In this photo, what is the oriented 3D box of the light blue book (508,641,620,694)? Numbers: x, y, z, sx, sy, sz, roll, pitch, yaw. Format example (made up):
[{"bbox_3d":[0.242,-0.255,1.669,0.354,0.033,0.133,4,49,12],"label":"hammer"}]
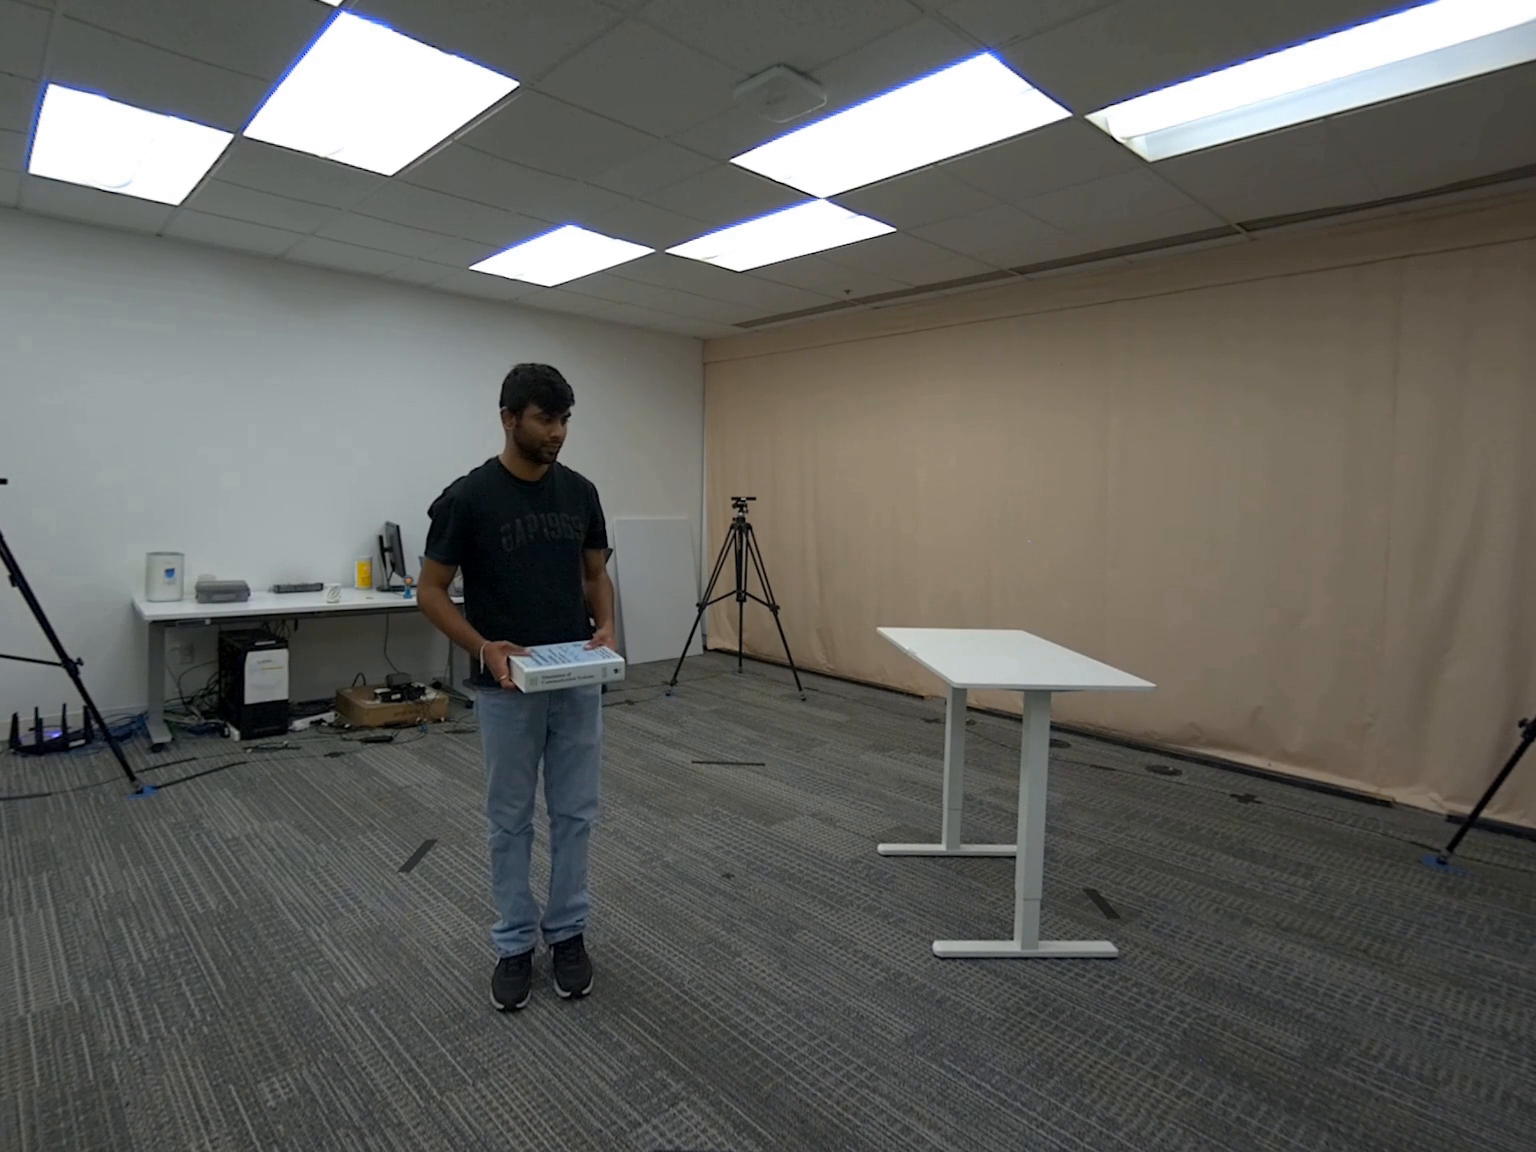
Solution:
[{"bbox_3d":[-0.553,0.234,2.132,0.256,0.058,0.196,-4,12,-32],"label":"light blue book"}]
